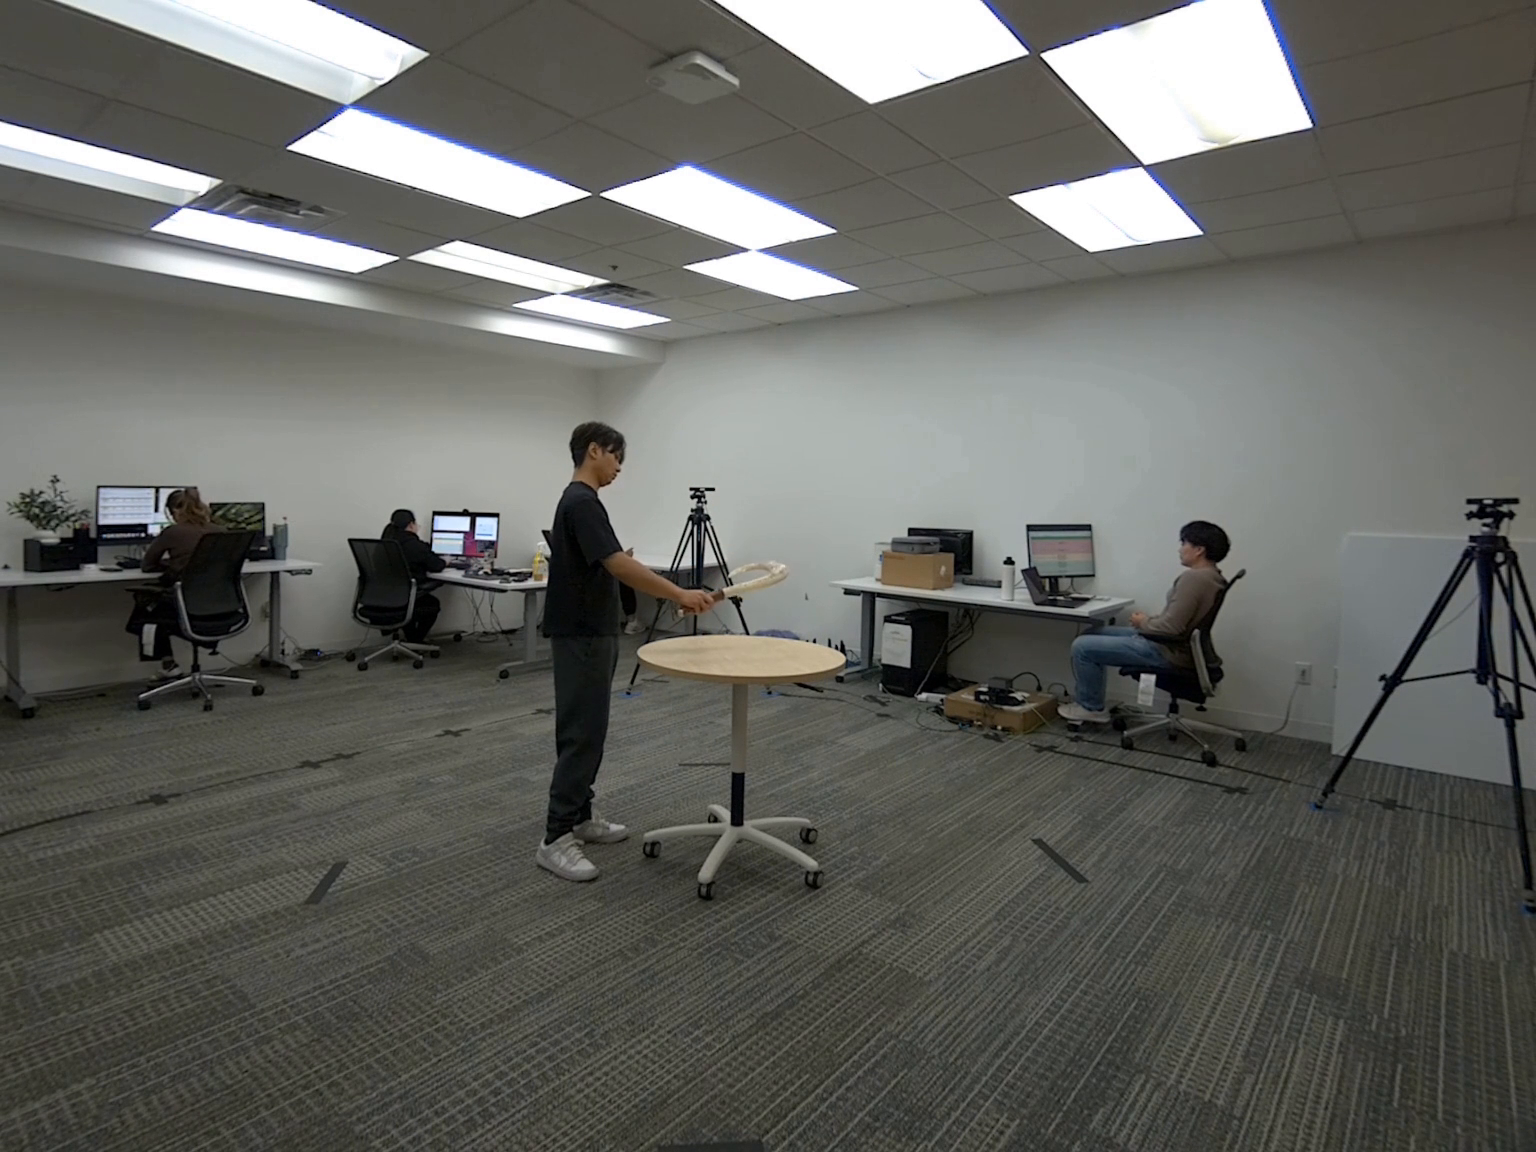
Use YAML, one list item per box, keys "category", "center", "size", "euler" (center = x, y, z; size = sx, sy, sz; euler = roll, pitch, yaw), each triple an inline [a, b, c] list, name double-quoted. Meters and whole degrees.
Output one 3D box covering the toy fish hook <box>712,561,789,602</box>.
- category: "toy fish hook"
  center: [-0.165, 0.046, 3.189]
  size: [0.499, 0.047, 0.233]
  euler: [-22, 22, -26]
